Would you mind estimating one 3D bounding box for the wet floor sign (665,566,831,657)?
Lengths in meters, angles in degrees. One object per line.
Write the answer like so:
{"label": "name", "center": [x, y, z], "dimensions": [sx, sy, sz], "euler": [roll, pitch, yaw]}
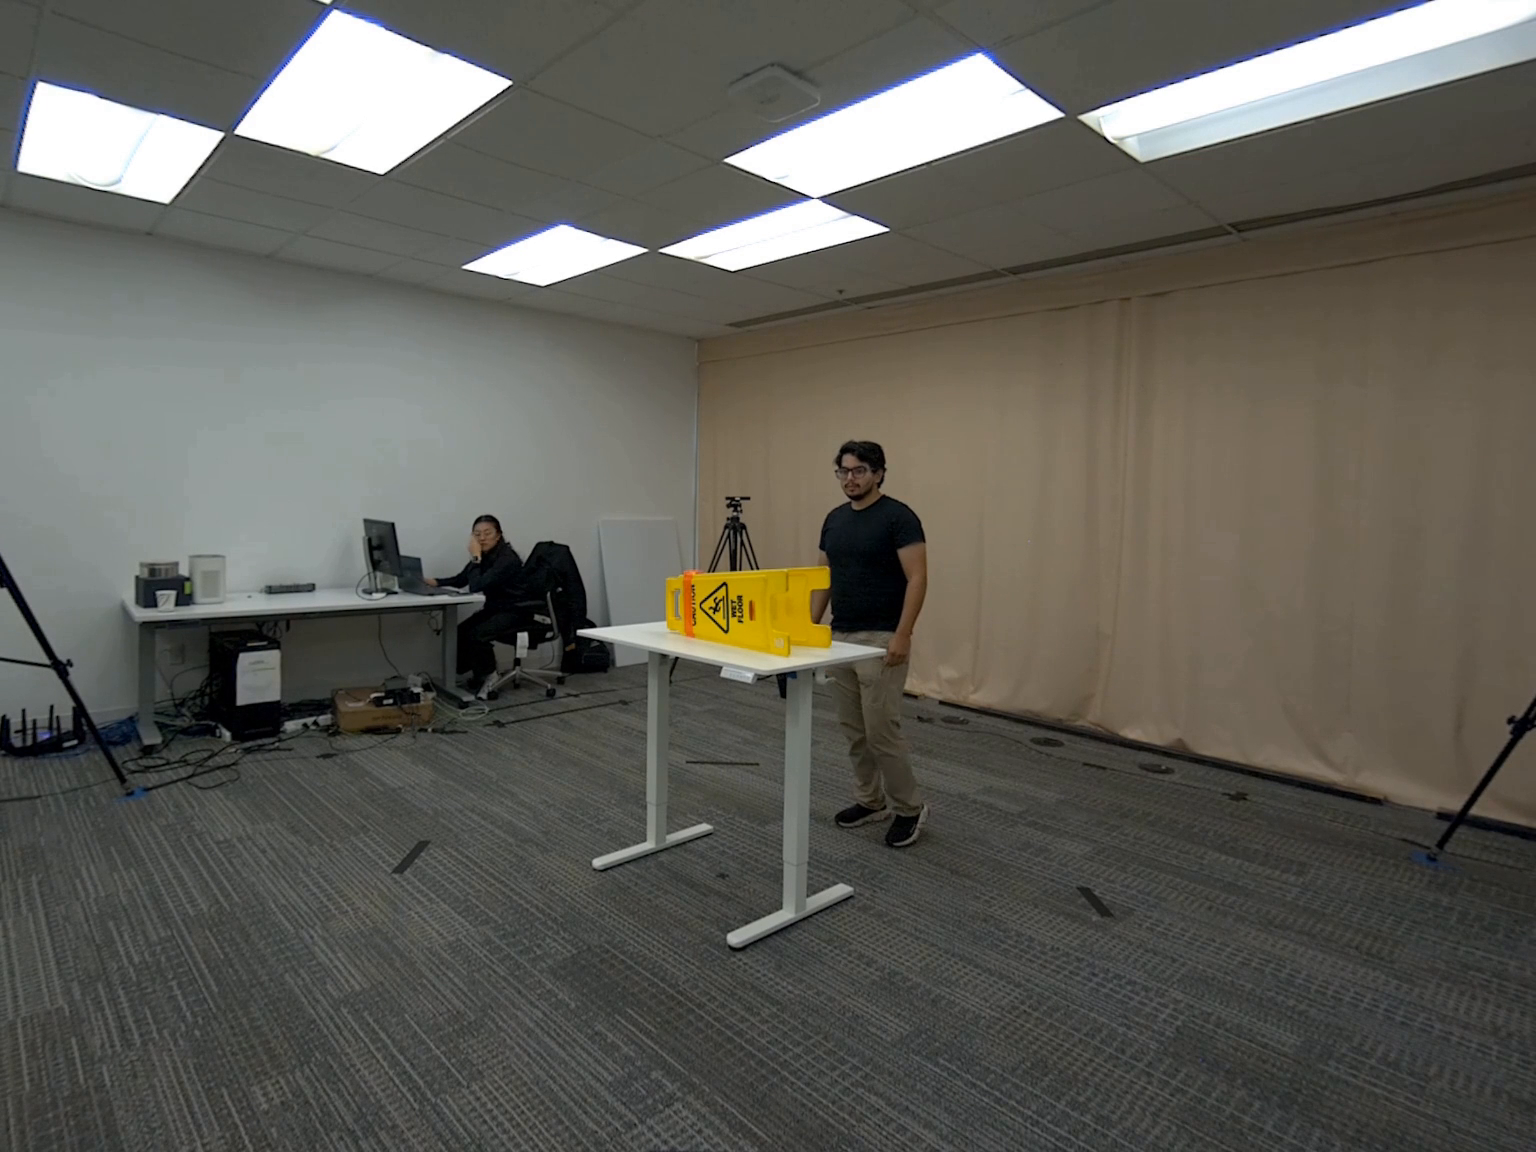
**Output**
{"label": "wet floor sign", "center": [-0.127, 0.112, 2.979], "dimensions": [0.661, 0.282, 0.283], "euler": [1, 3, 37]}
